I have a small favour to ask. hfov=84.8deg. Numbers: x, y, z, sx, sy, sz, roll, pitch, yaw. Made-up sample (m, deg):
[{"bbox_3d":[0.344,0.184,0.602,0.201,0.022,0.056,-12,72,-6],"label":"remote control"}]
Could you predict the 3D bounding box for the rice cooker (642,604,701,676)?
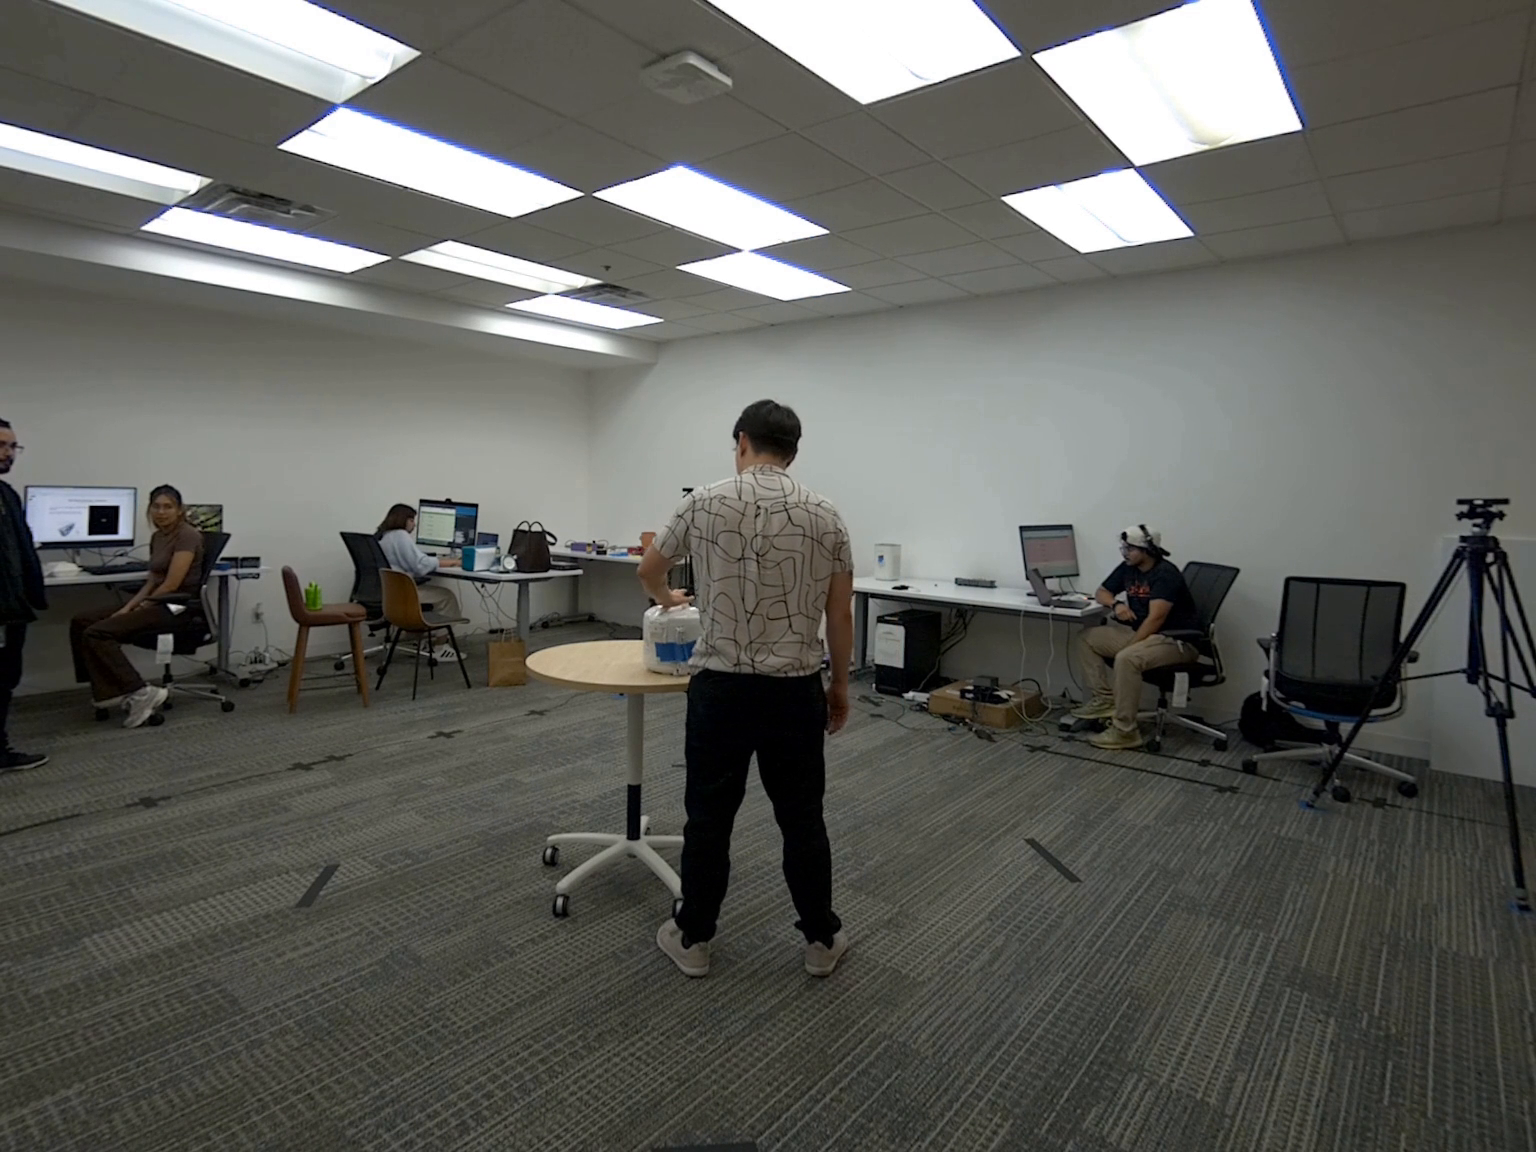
[{"bbox_3d":[-0.326,0.196,2.848,0.224,0.232,0.215,6,6,29],"label":"rice cooker"}]
